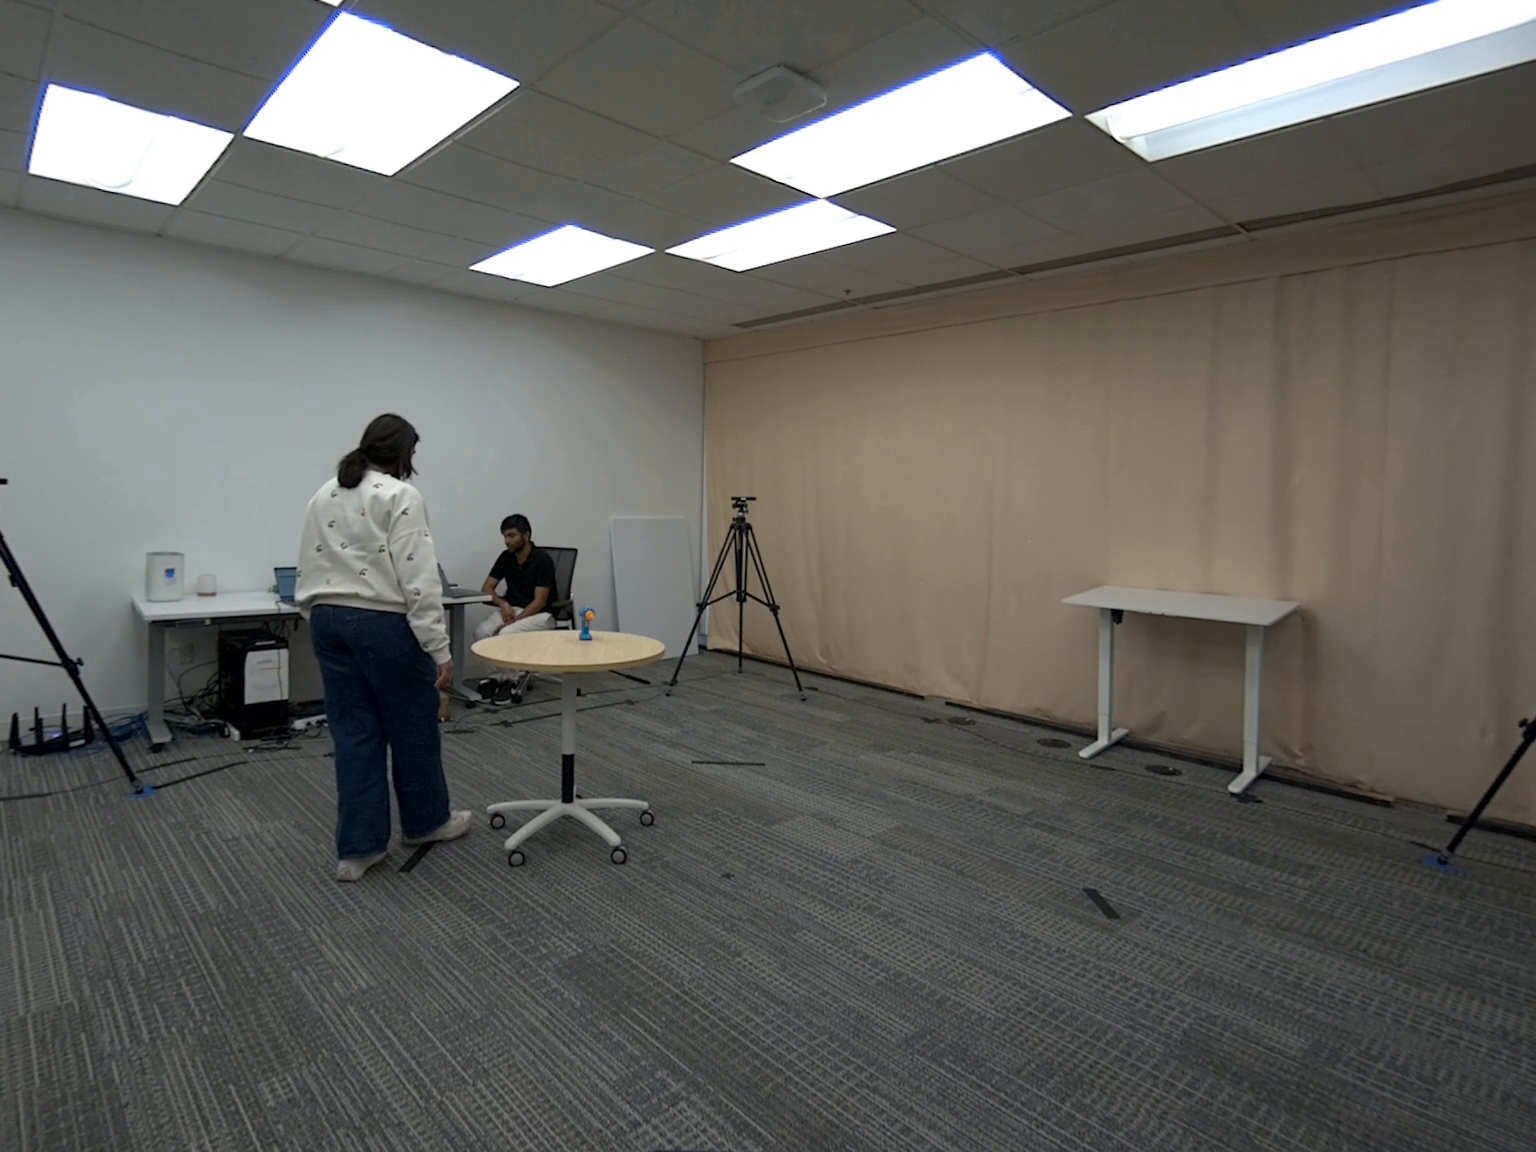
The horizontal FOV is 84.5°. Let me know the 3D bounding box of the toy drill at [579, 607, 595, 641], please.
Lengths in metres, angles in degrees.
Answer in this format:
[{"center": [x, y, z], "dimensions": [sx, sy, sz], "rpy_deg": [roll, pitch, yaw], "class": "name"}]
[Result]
[{"center": [-0.764, 0.199, 3.523], "dimensions": [0.060, 0.146, 0.173], "rpy_deg": [3, 4, -24], "class": "toy drill"}]
